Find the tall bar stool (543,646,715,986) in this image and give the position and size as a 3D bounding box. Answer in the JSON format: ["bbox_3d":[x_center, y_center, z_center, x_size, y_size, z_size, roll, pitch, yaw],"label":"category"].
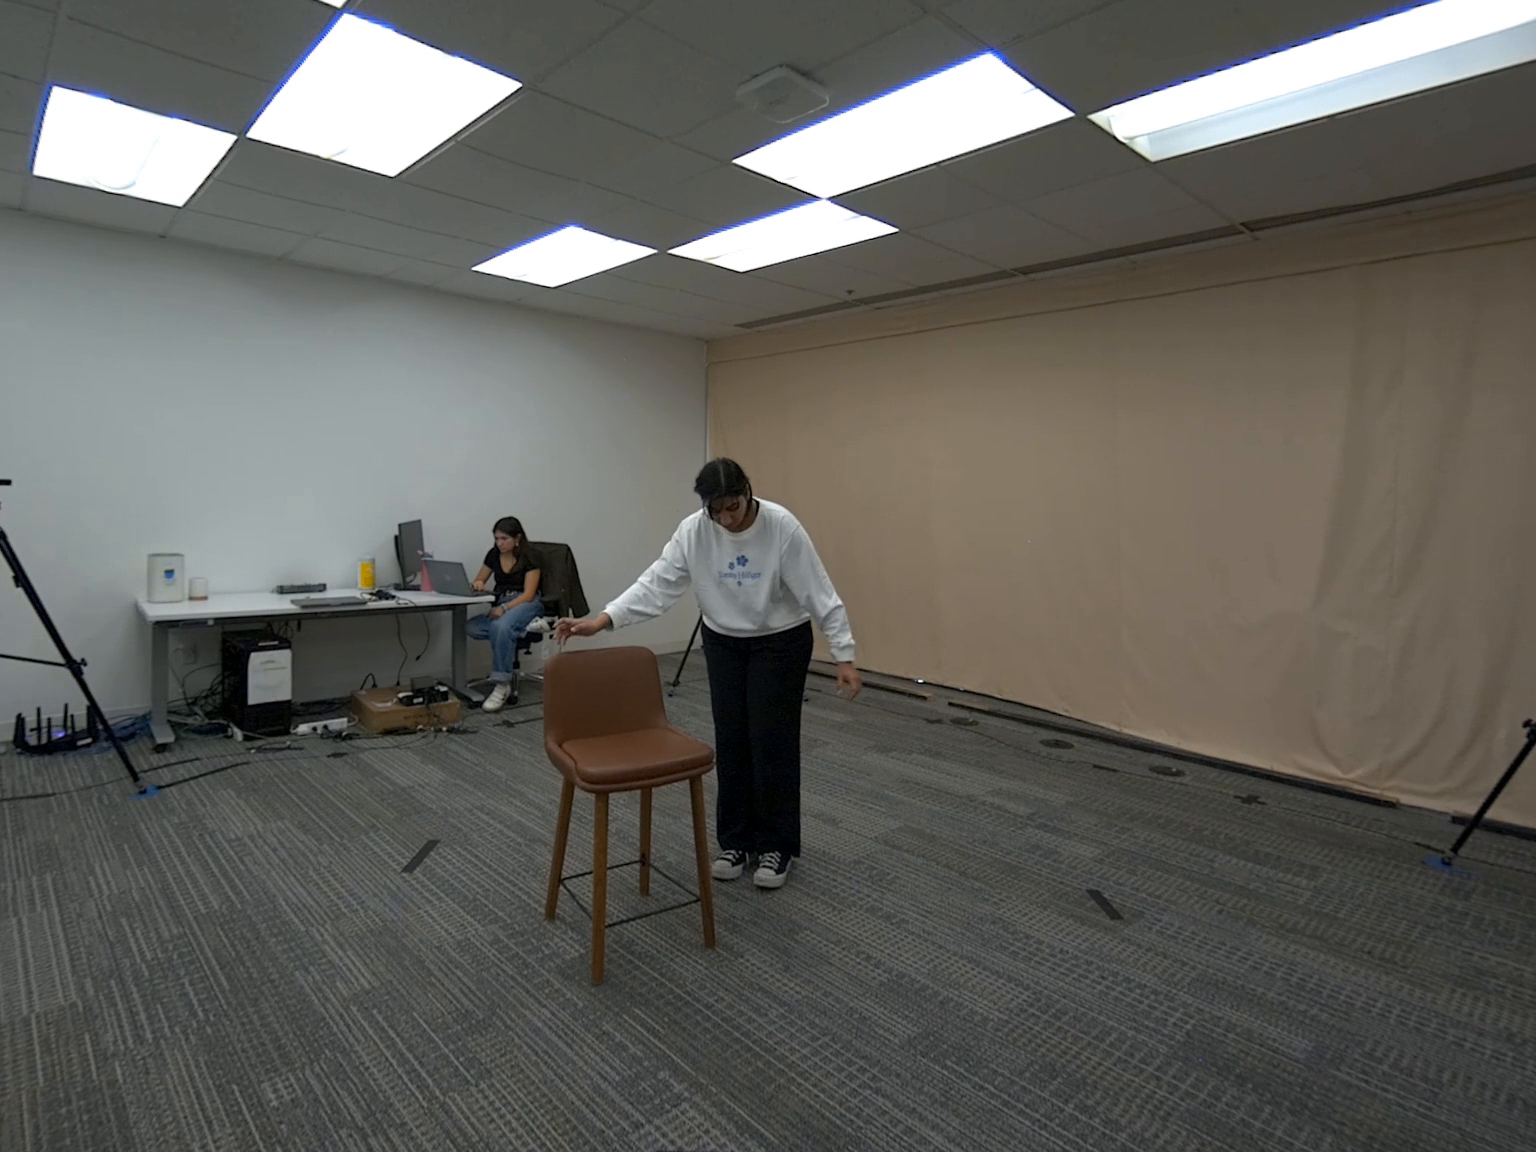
[{"bbox_3d":[-0.457,0.705,2.665,0.447,0.889,0.478,-1,2,-34],"label":"tall bar stool"}]
